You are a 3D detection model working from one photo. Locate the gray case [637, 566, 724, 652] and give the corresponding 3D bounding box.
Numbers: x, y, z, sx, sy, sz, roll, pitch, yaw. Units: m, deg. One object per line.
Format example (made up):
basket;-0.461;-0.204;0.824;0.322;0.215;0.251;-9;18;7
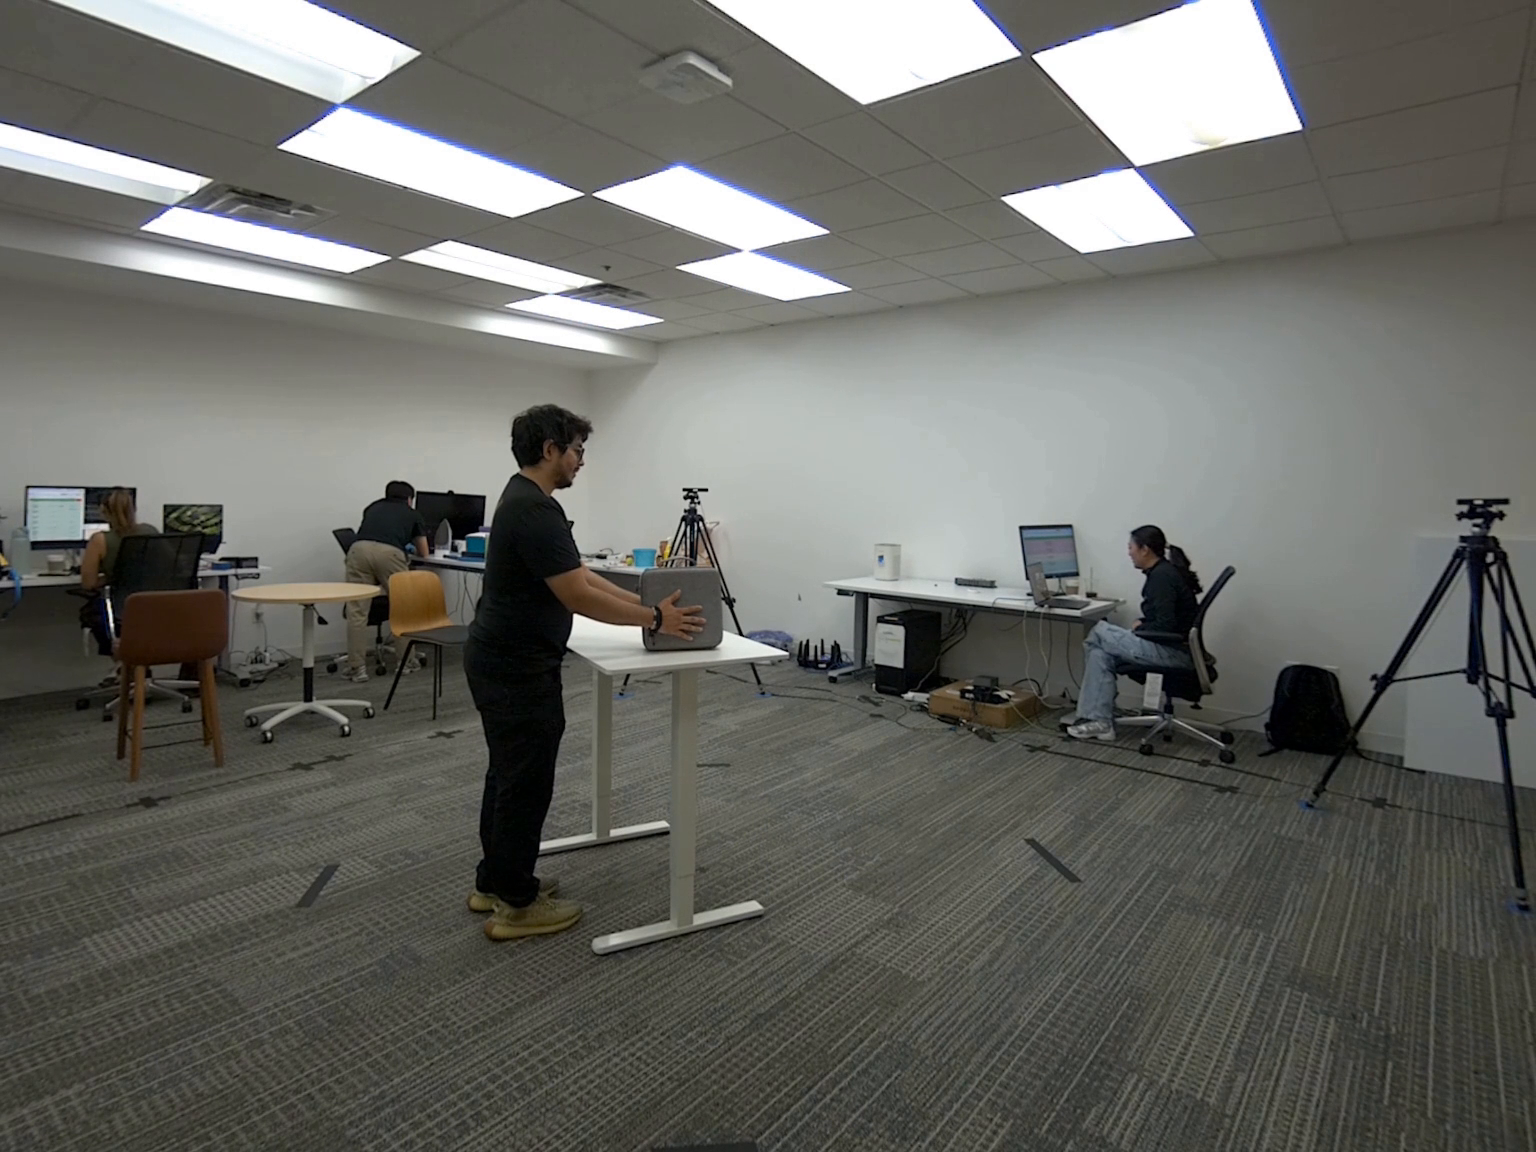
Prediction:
gray case;-0.291;0.100;2.693;0.254;0.262;0.105;-1;-4;-9
